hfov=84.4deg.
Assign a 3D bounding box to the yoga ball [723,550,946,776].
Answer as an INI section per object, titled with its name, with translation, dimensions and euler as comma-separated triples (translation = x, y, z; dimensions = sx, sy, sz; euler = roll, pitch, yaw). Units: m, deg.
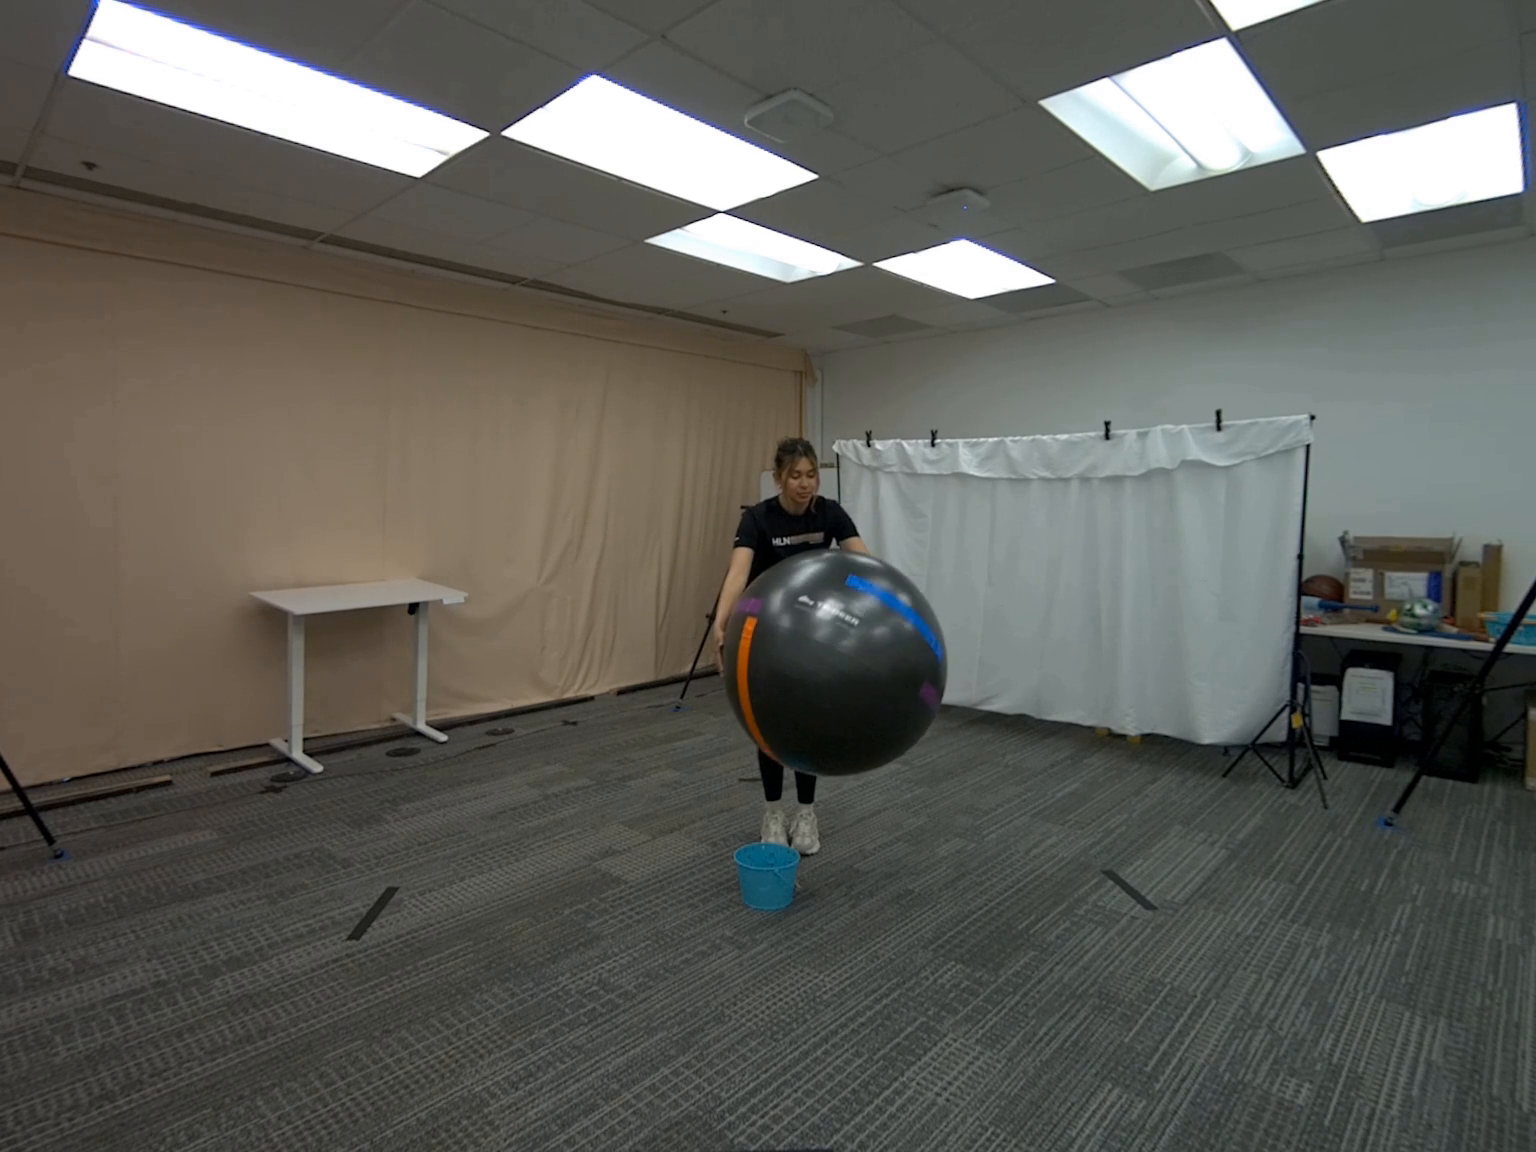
[yoga ball]
translation = 0.221, 0.288, 2.860
dimensions = 0.757, 0.756, 0.760
euler = 0, 4, -2
